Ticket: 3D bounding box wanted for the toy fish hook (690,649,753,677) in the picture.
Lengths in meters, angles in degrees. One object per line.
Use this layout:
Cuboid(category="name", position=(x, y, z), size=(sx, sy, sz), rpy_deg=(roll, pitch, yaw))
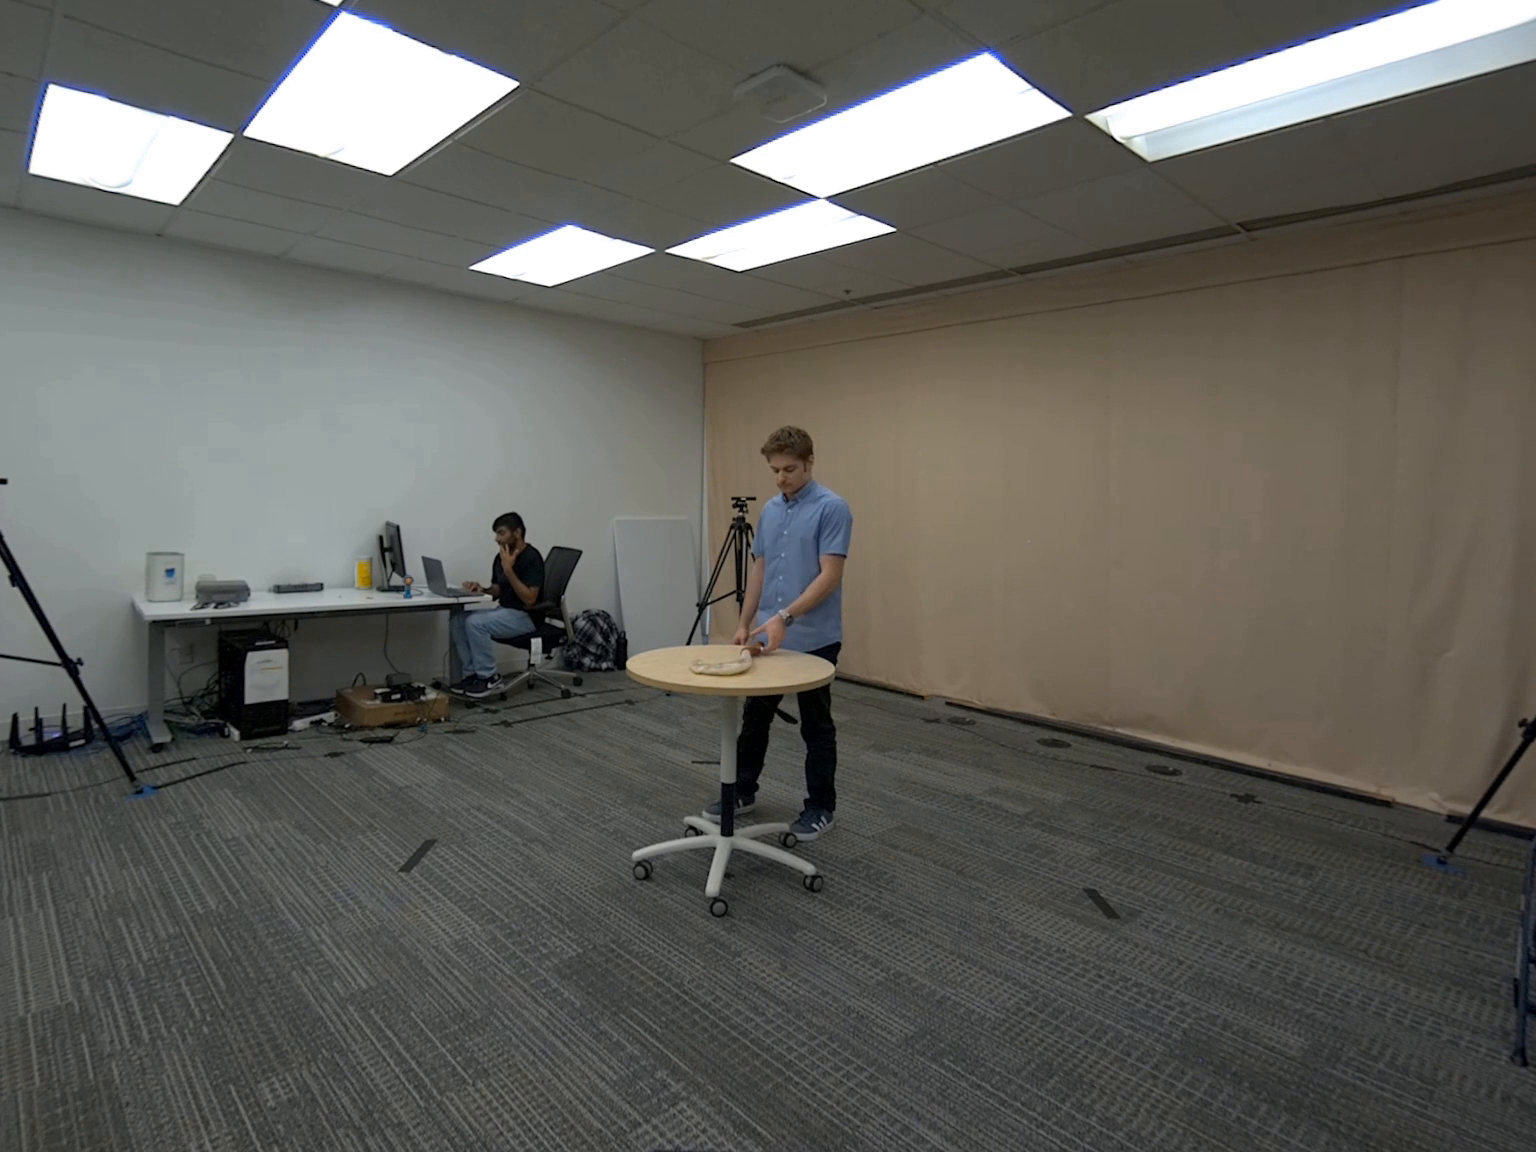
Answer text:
Cuboid(category="toy fish hook", position=(-0.148, 0.298, 3.120), size=(0.227, 0.048, 0.503), rpy_deg=(6, 7, 11))
